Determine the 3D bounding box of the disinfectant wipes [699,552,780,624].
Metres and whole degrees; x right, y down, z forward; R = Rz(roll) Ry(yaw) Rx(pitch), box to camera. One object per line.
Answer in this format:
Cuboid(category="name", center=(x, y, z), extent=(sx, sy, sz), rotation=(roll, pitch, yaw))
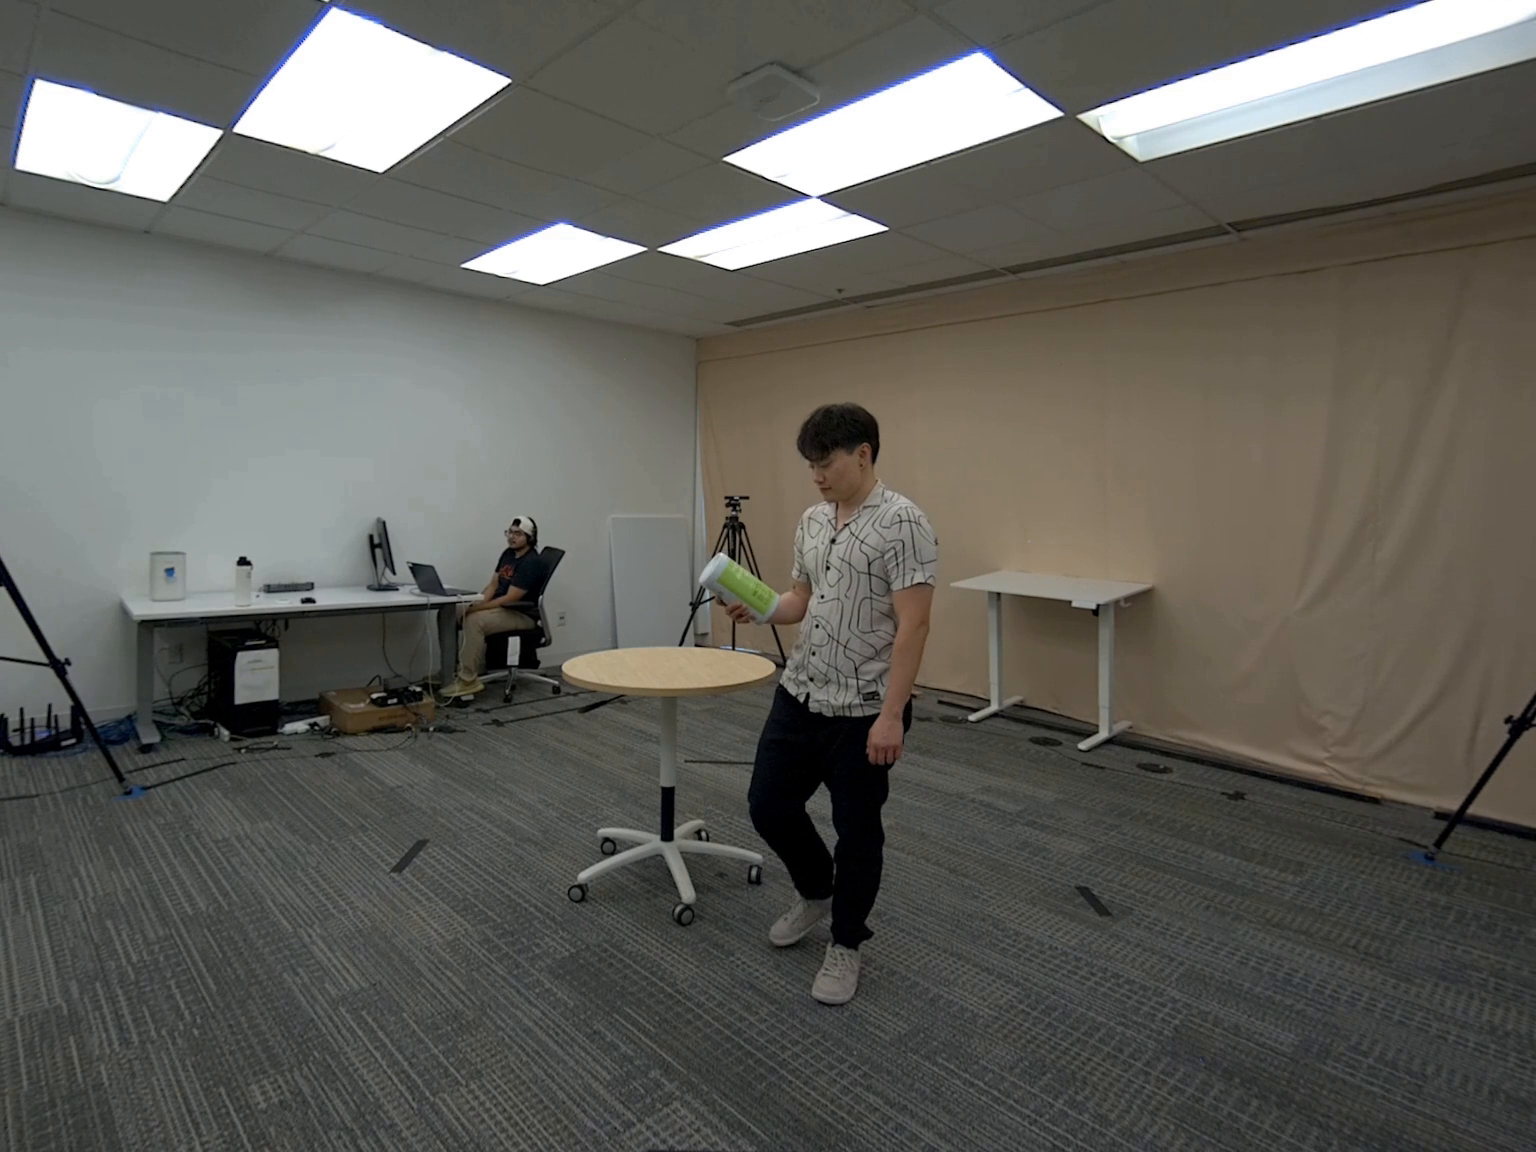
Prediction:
Cuboid(category="disinfectant wipes", center=(-0.089, 0.037, 2.374), extent=(0.215, 0.118, 0.119), rotation=(35, -2, -10))
